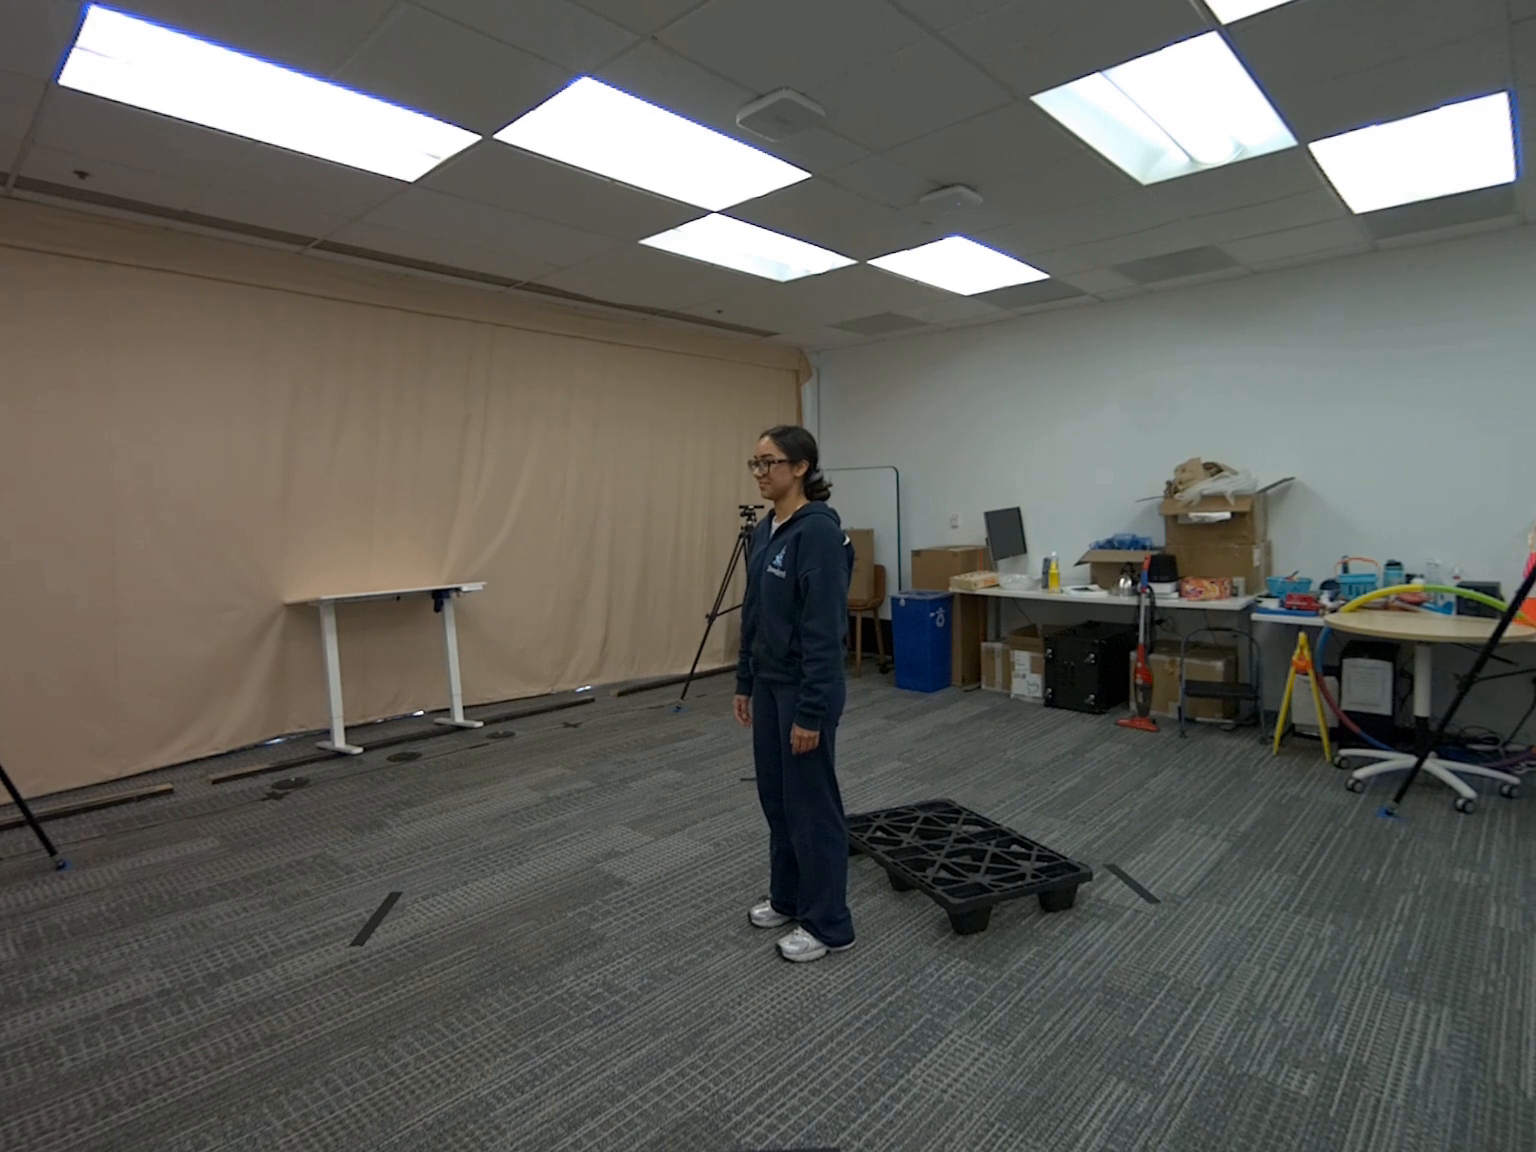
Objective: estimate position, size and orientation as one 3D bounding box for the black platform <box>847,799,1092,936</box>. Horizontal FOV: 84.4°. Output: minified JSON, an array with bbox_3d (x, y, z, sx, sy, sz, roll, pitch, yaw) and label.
[{"bbox_3d":[0.672,1.053,3.108,0.591,0.143,0.826,-3,5,-25],"label":"black platform"}]
